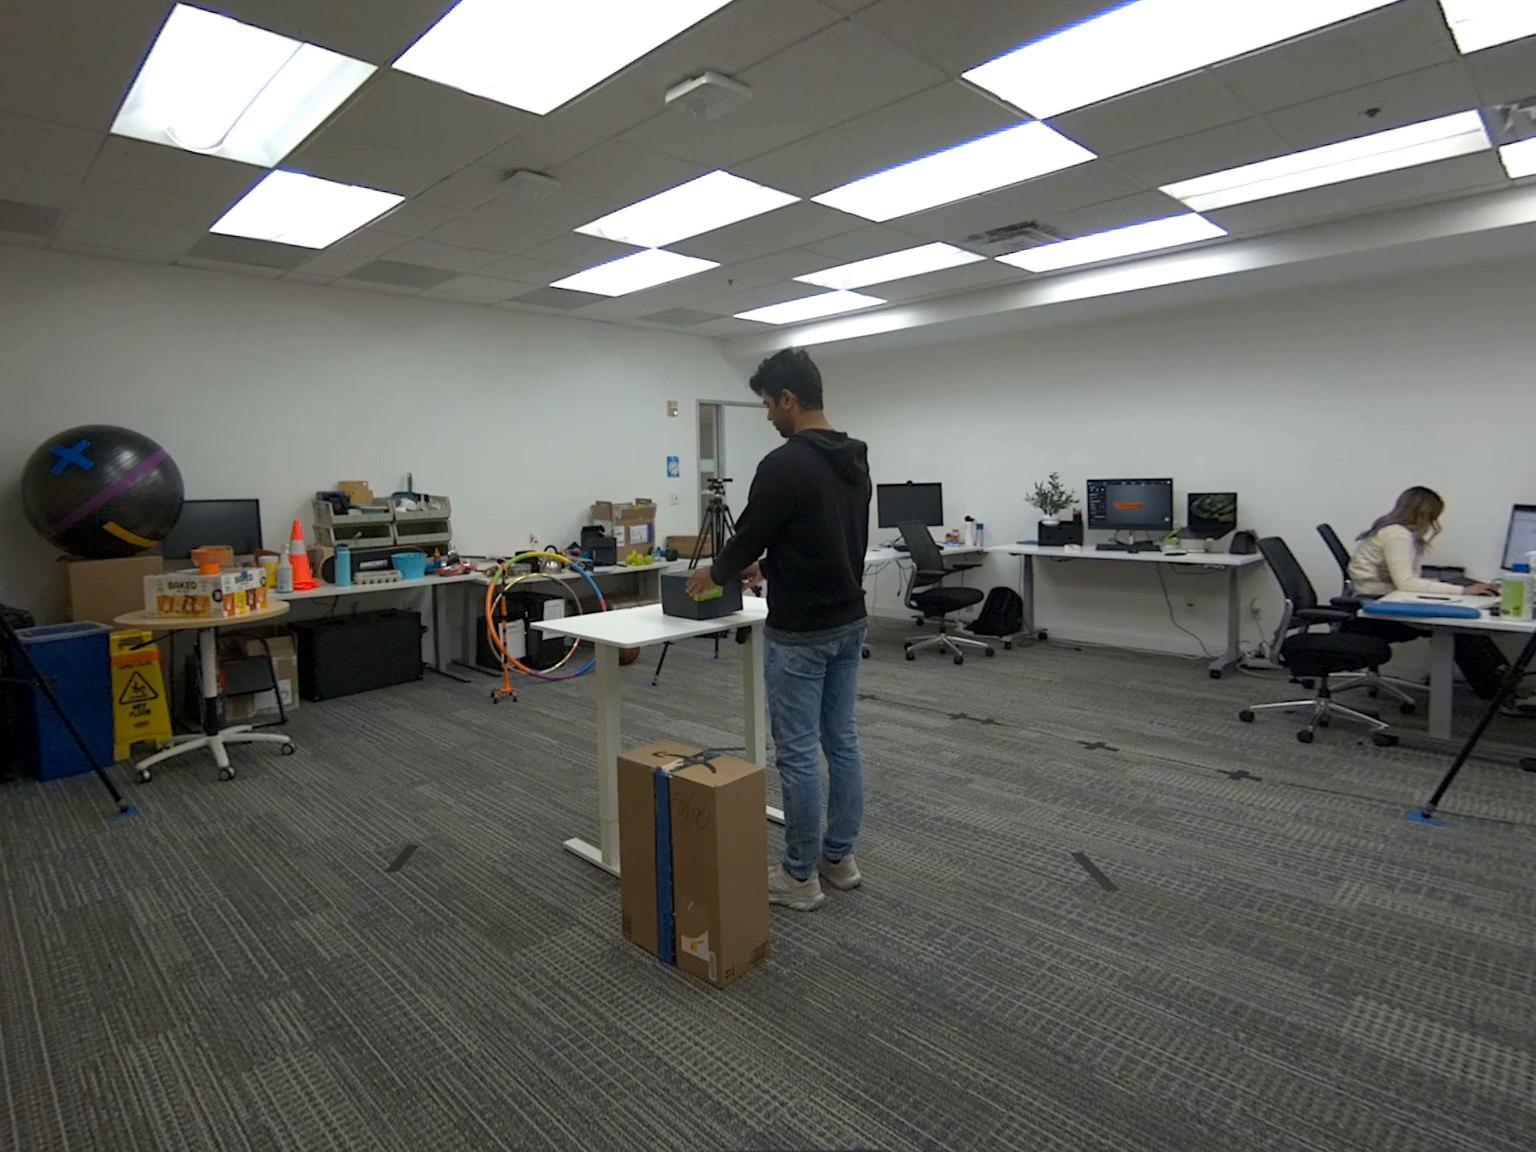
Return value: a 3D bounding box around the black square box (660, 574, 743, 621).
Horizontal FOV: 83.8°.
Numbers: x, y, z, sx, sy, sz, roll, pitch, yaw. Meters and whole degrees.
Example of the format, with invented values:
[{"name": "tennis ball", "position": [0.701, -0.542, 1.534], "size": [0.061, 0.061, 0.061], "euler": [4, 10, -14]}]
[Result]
[{"name": "black square box", "position": [-0.257, 0.051, 3.250], "size": [0.224, 0.155, 0.222], "euler": [5, 9, 44]}]
